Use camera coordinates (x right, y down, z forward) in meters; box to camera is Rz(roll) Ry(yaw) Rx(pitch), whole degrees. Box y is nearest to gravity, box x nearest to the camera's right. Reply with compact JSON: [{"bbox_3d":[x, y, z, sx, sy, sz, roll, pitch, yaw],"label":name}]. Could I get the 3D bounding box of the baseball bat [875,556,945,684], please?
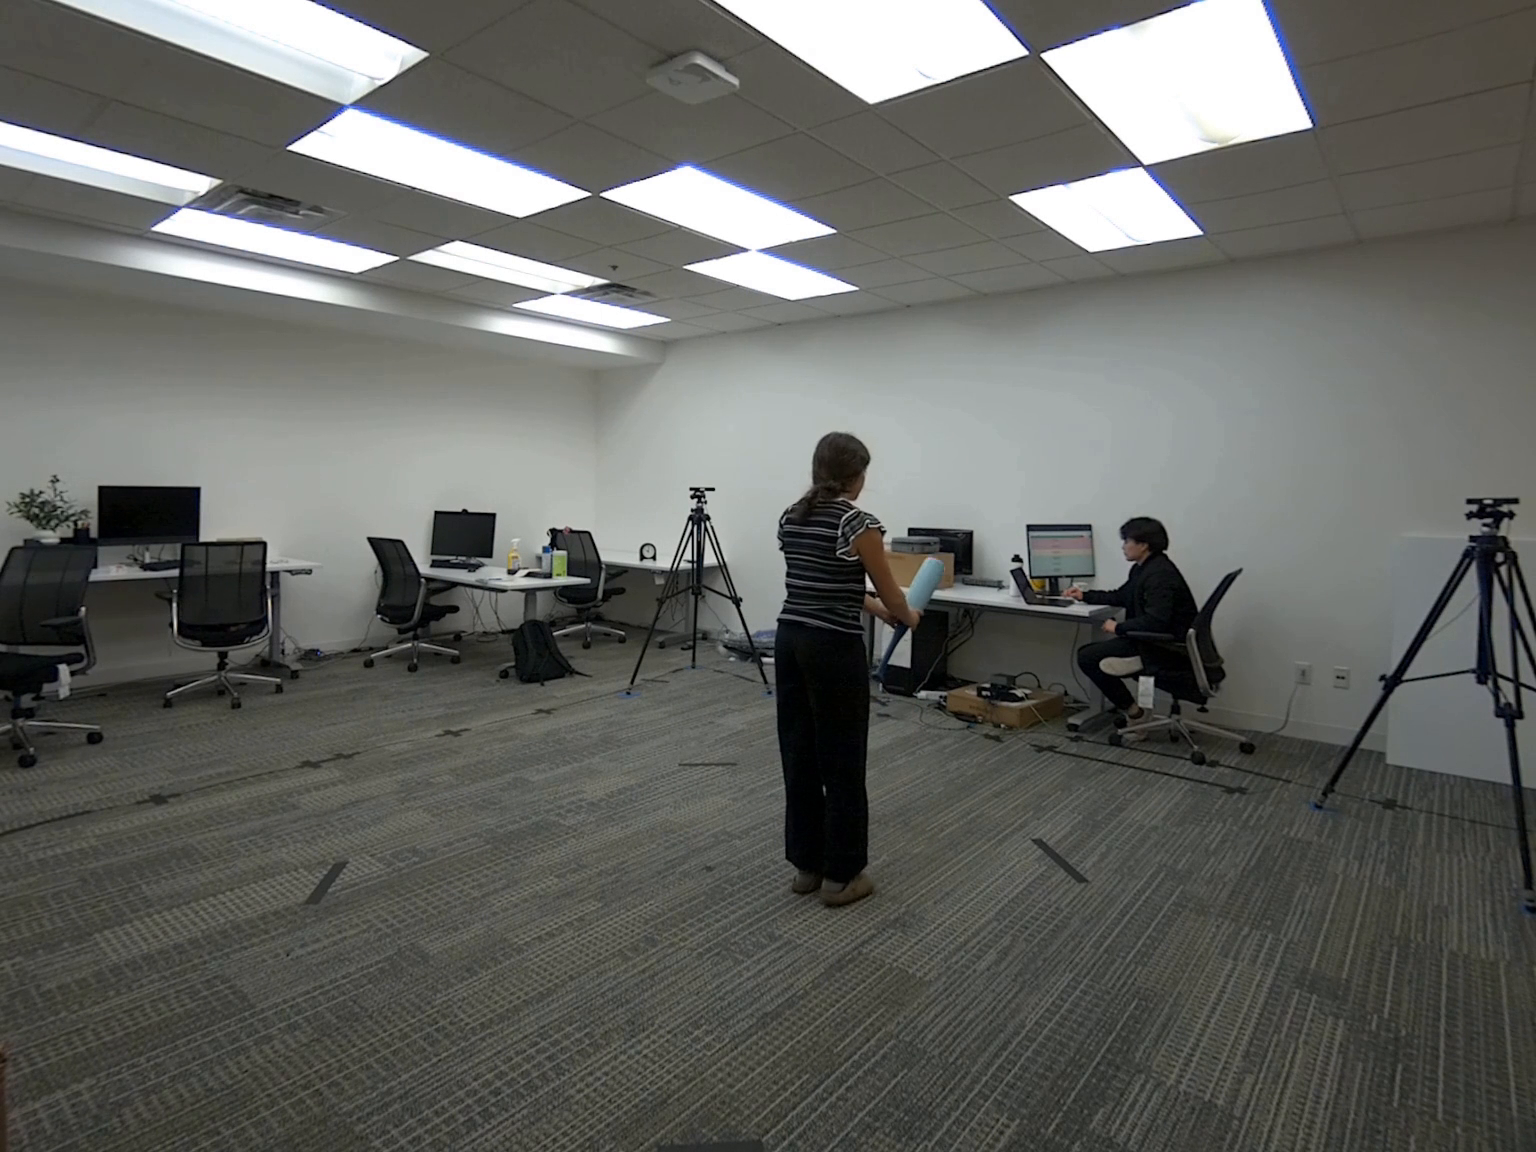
[{"bbox_3d":[0.520,0.169,3.243,0.090,0.546,0.087,28,-20,9],"label":"baseball bat"}]
